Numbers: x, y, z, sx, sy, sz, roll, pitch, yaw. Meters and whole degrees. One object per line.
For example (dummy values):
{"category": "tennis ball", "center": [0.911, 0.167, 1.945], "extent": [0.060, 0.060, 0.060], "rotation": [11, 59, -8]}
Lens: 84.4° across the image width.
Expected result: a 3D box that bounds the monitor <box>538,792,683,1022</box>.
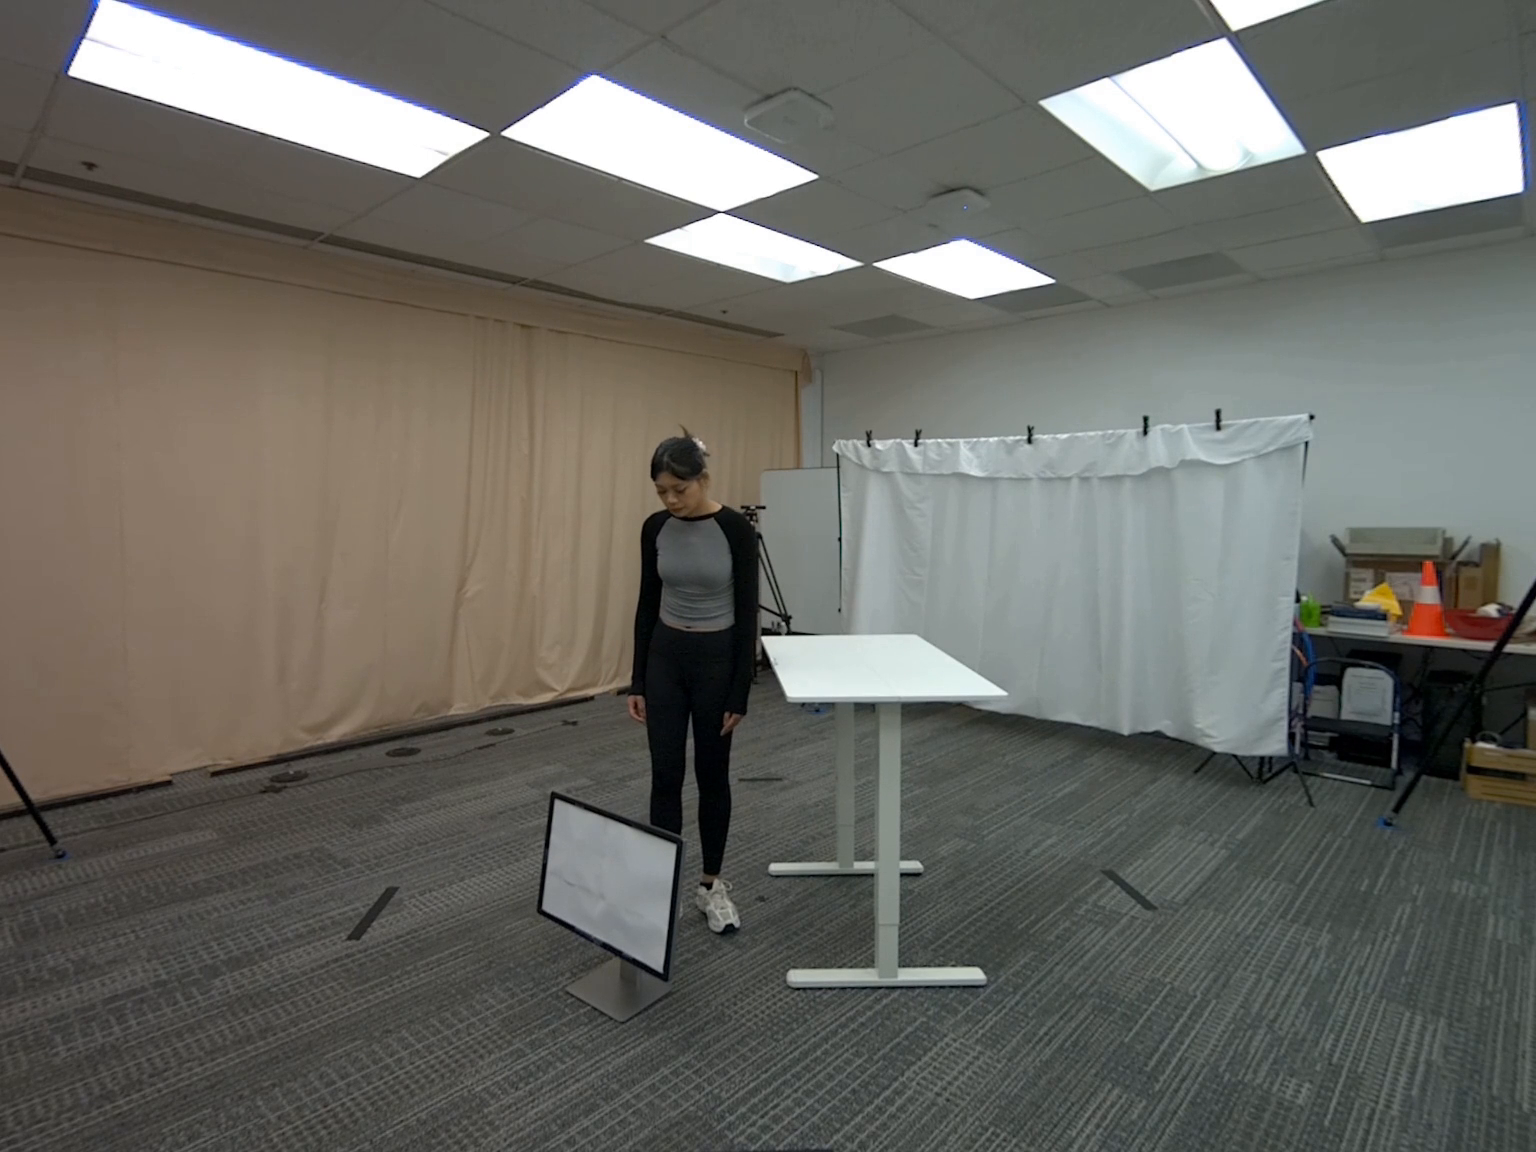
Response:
{"category": "monitor", "center": [-0.428, 0.935, 2.401], "extent": [0.556, 0.521, 0.182], "rotation": [3, 6, 38]}
